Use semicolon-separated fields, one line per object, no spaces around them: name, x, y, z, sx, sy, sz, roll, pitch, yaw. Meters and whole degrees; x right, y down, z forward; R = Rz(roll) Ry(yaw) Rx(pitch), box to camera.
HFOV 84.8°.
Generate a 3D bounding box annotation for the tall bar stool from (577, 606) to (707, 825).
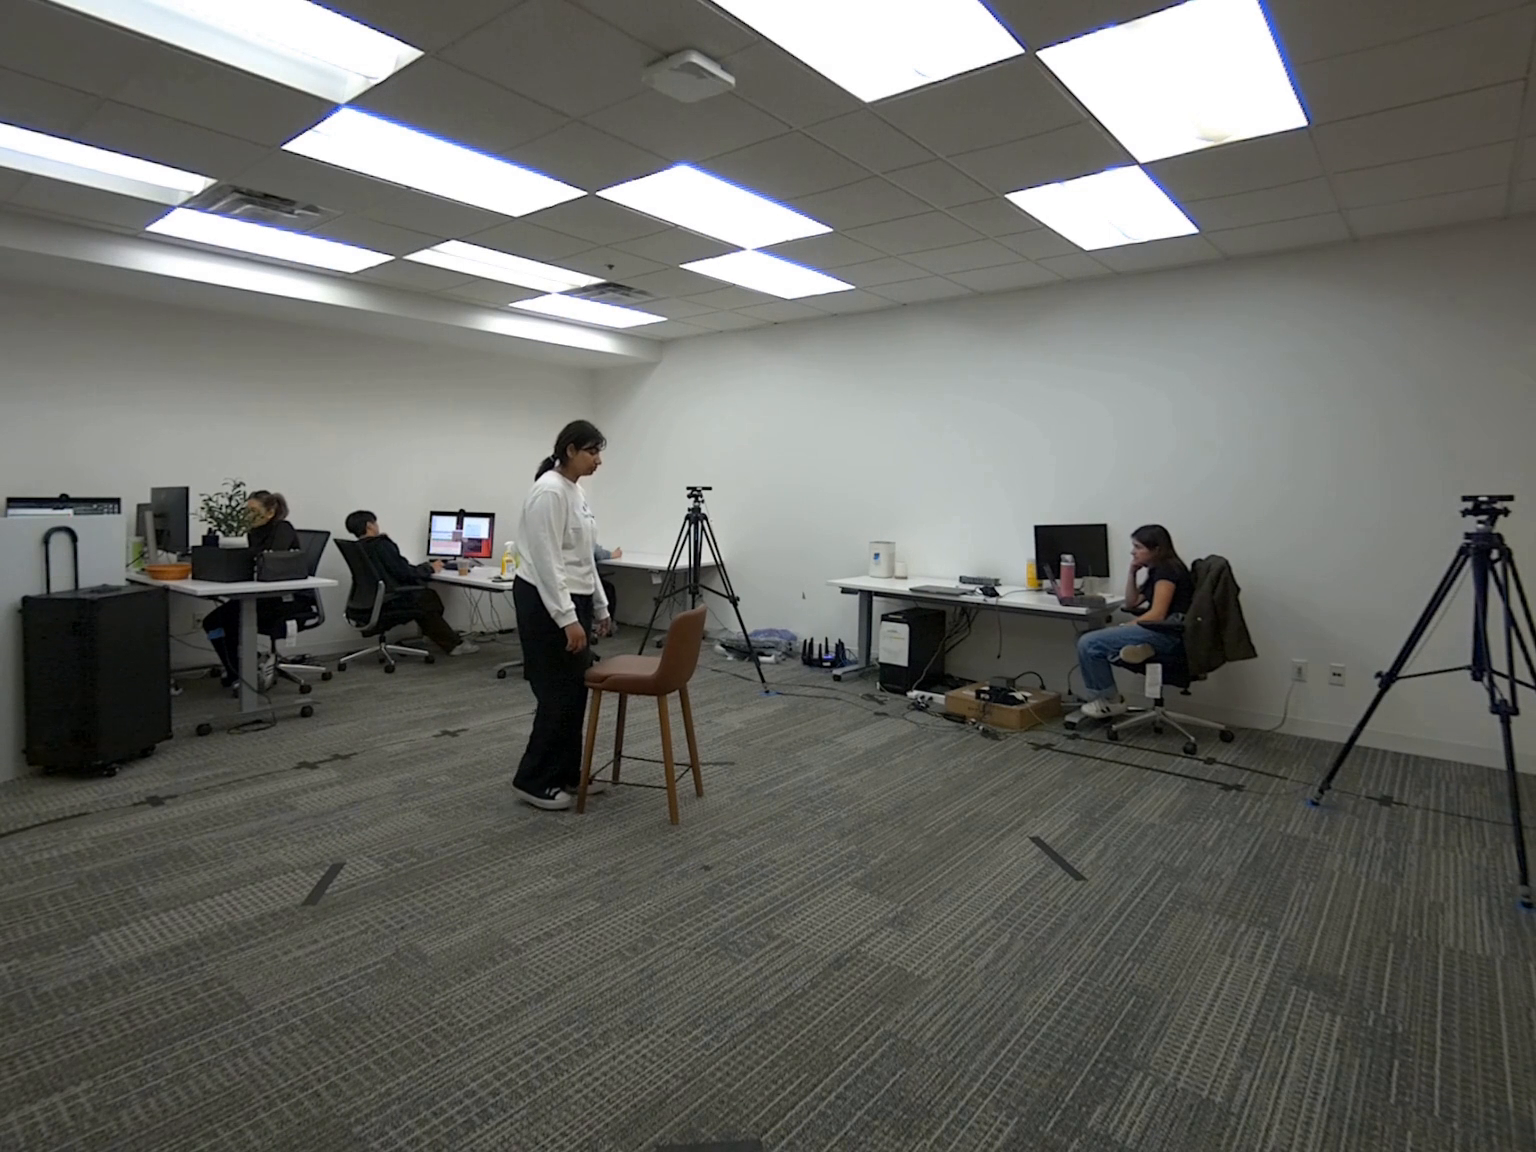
tall bar stool;-0.544;0.566;3.719;0.477;0.887;0.449;3;4;17
